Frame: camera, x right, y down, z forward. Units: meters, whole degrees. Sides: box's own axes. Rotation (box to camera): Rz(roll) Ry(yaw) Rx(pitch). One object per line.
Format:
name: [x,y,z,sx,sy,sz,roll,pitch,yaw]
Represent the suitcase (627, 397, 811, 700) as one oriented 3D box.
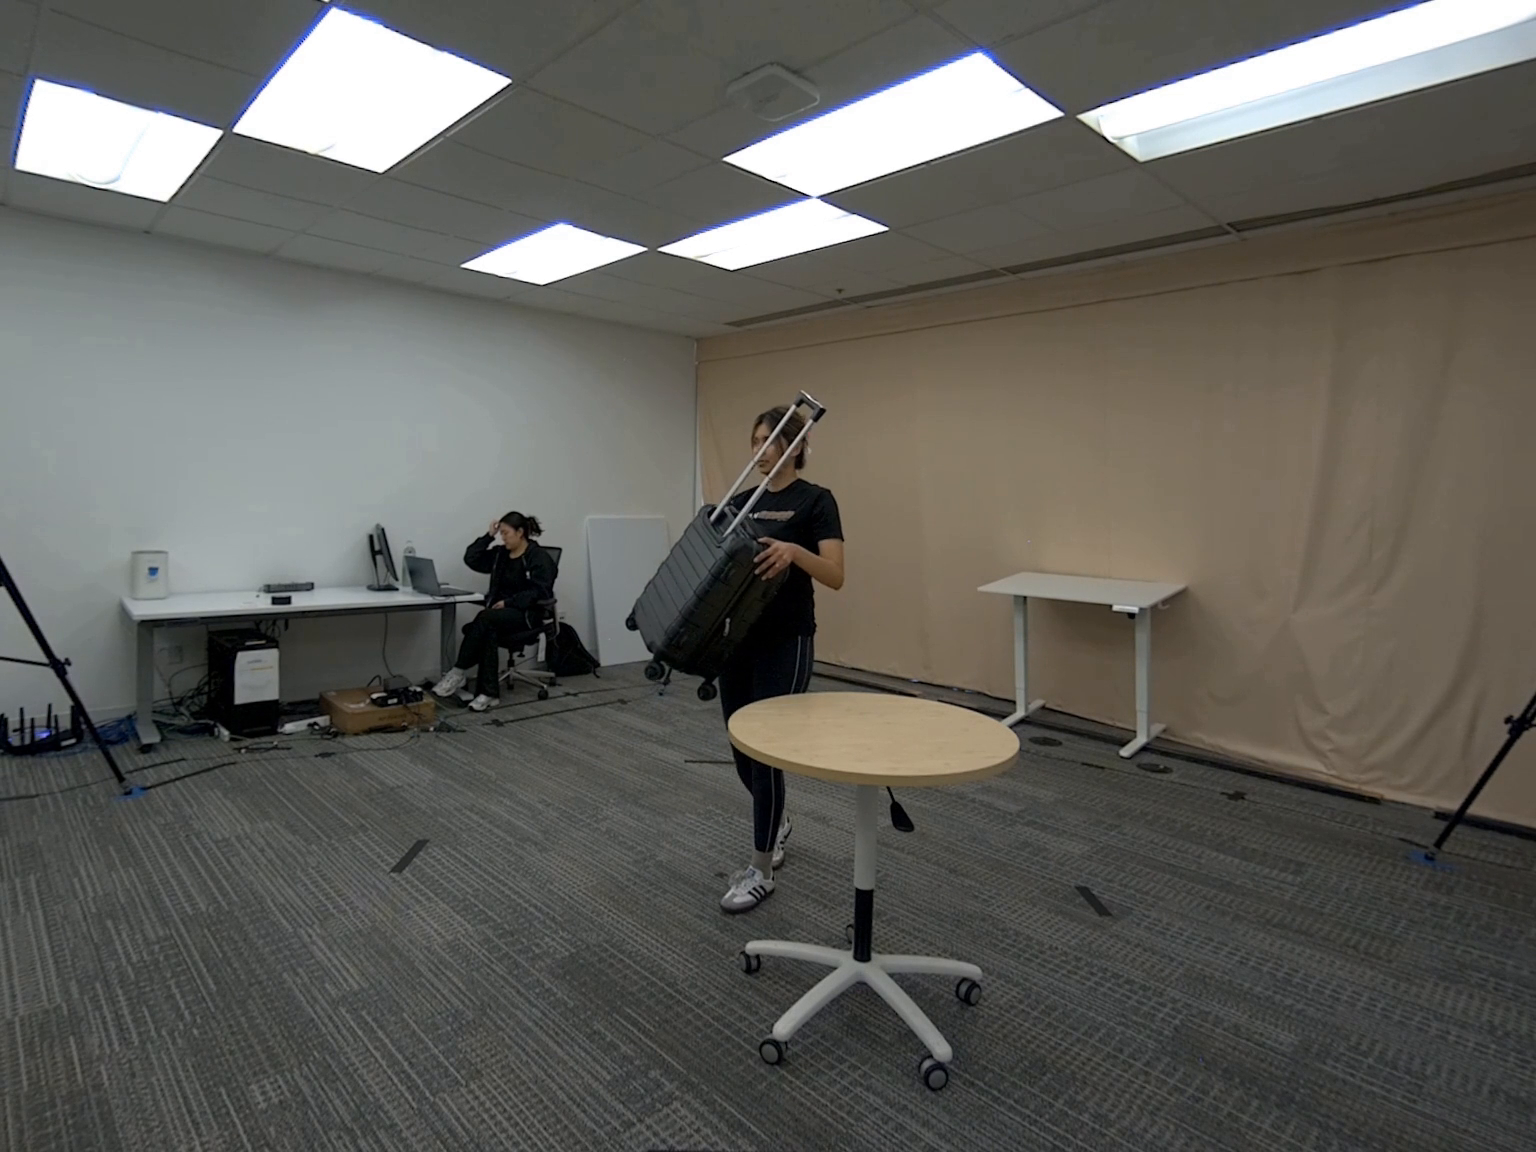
suitcase: [-0.089,-0.111,2.701,0.250,0.977,0.395,32,11,-32]
